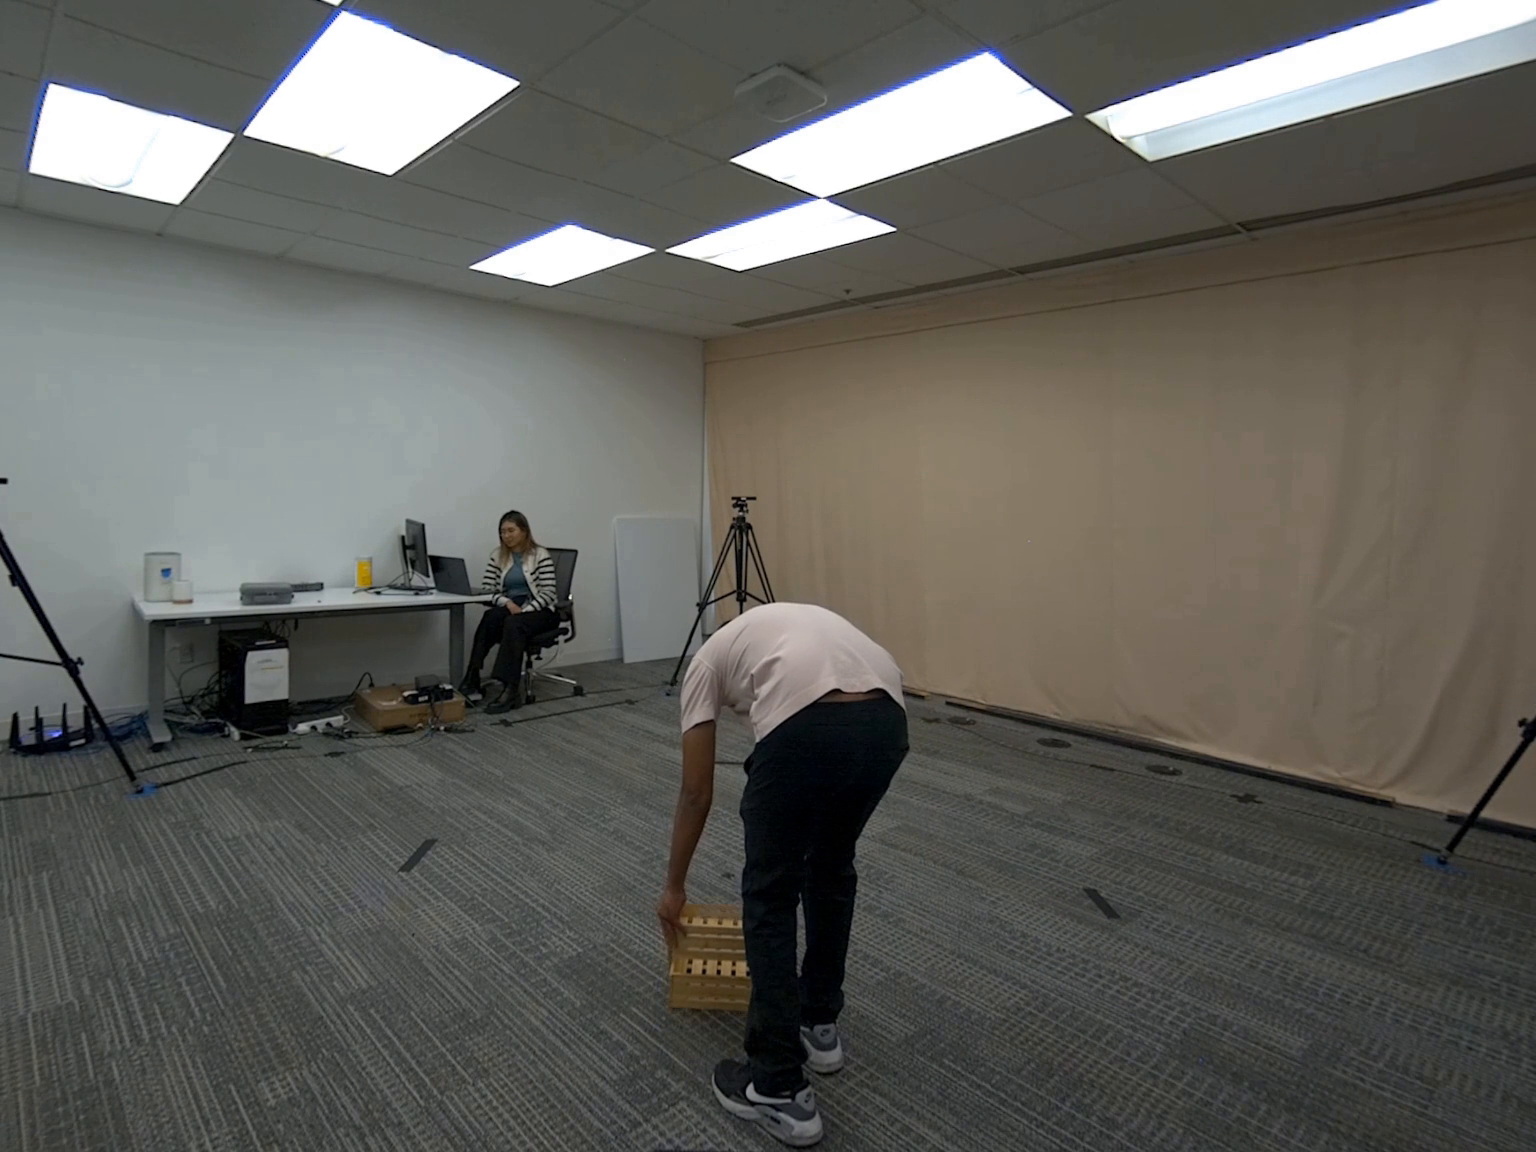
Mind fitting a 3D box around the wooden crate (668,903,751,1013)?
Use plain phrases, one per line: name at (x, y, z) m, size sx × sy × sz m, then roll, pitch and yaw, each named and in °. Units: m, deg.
wooden crate at (-0.121, 1.040, 2.381) m, size 0.324 × 0.272 × 0.303 m, roll 2°, pitch 5°, yaw 0°
